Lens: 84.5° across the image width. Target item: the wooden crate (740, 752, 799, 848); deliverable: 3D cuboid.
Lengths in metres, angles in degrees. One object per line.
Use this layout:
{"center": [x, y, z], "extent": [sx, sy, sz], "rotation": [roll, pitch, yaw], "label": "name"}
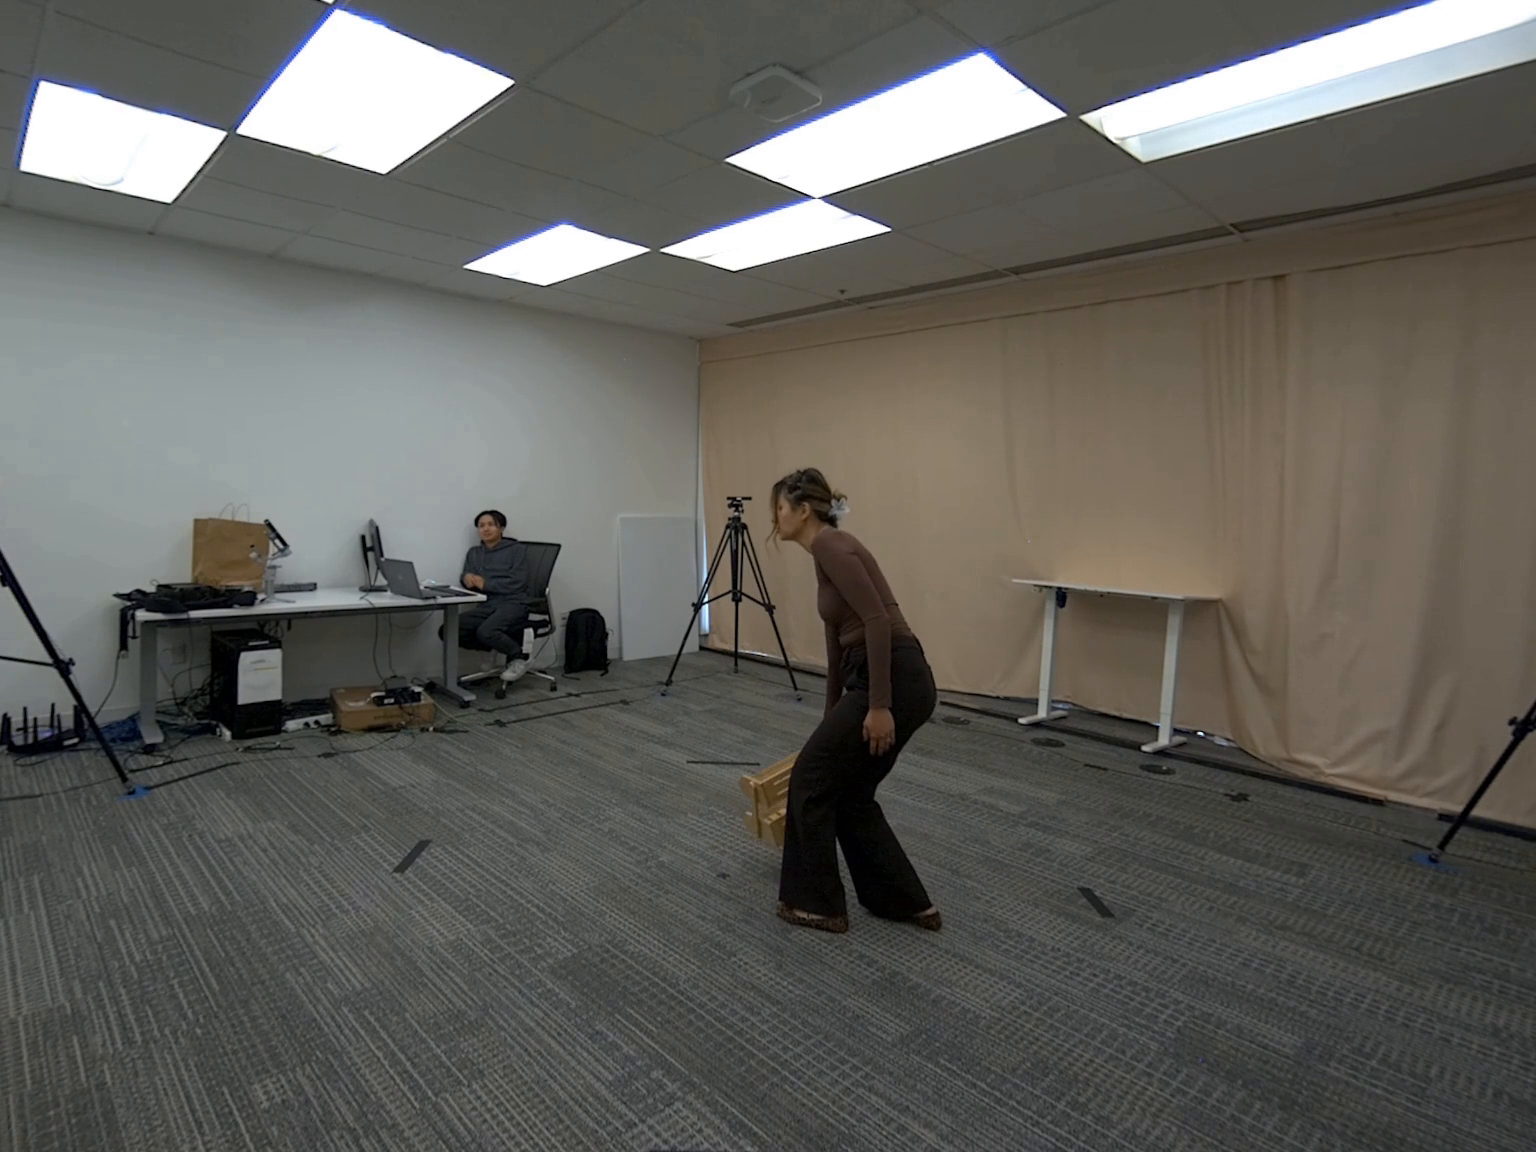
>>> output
{"center": [0.065, 0.782, 3.114], "extent": [0.321, 0.272, 0.307], "rotation": [-23, 8, -27], "label": "wooden crate"}
